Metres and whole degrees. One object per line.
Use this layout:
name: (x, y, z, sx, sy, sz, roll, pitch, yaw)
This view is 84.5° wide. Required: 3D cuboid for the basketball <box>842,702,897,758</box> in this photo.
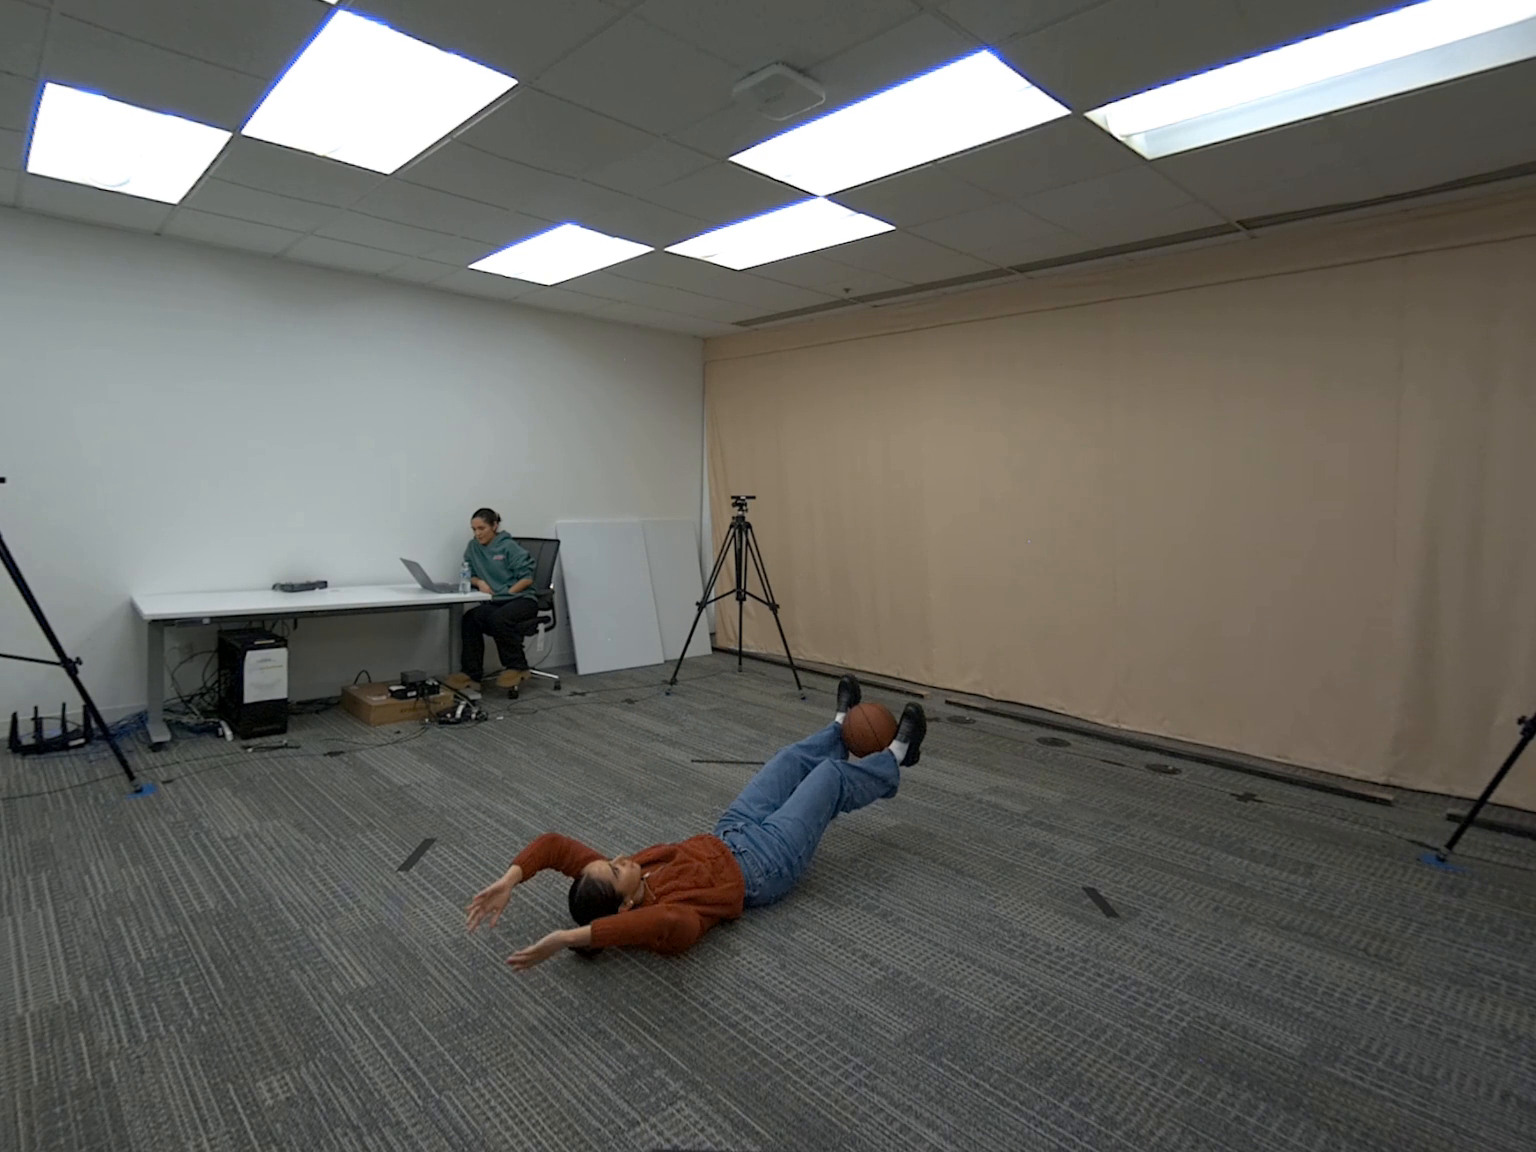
basketball: (0.408, 0.640, 3.492, 0.236, 0.234, 0.237, 0, 8, -1)
